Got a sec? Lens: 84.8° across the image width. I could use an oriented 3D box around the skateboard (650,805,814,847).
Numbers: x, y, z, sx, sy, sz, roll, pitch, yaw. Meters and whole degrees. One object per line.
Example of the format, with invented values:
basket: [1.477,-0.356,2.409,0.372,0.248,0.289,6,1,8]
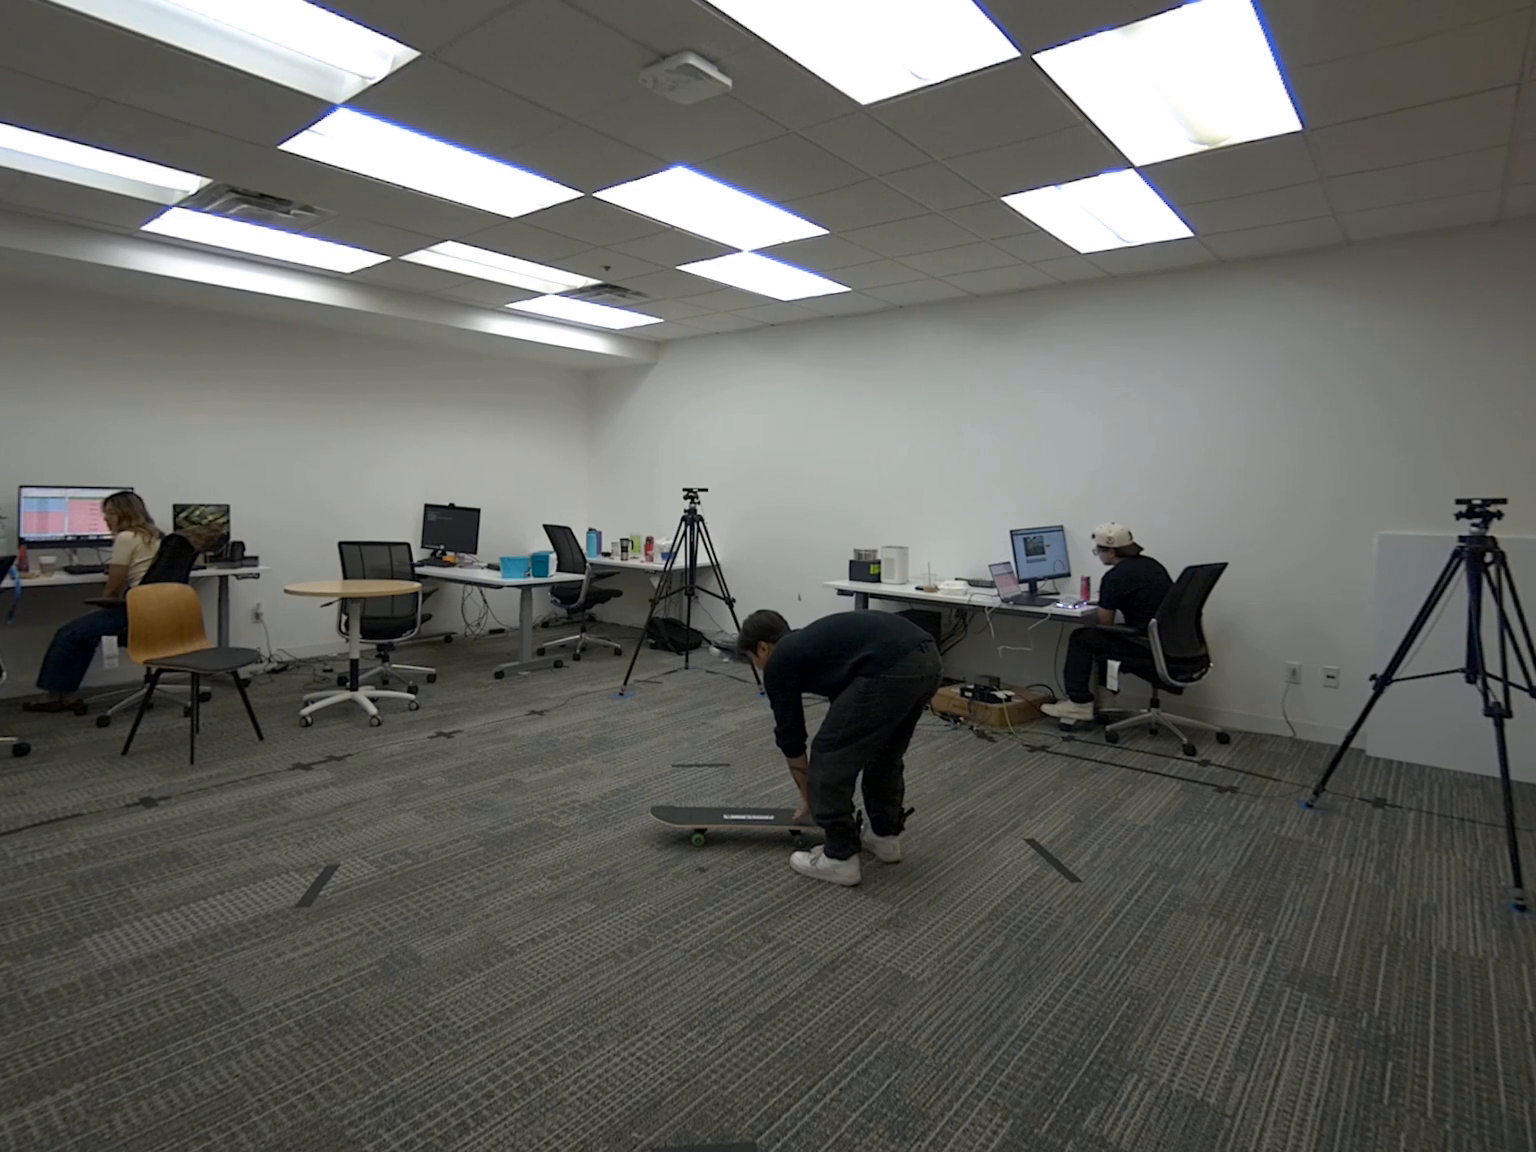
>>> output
skateboard: [-0.088,0.989,3.395,0.783,0.110,0.195,1,5,-2]
